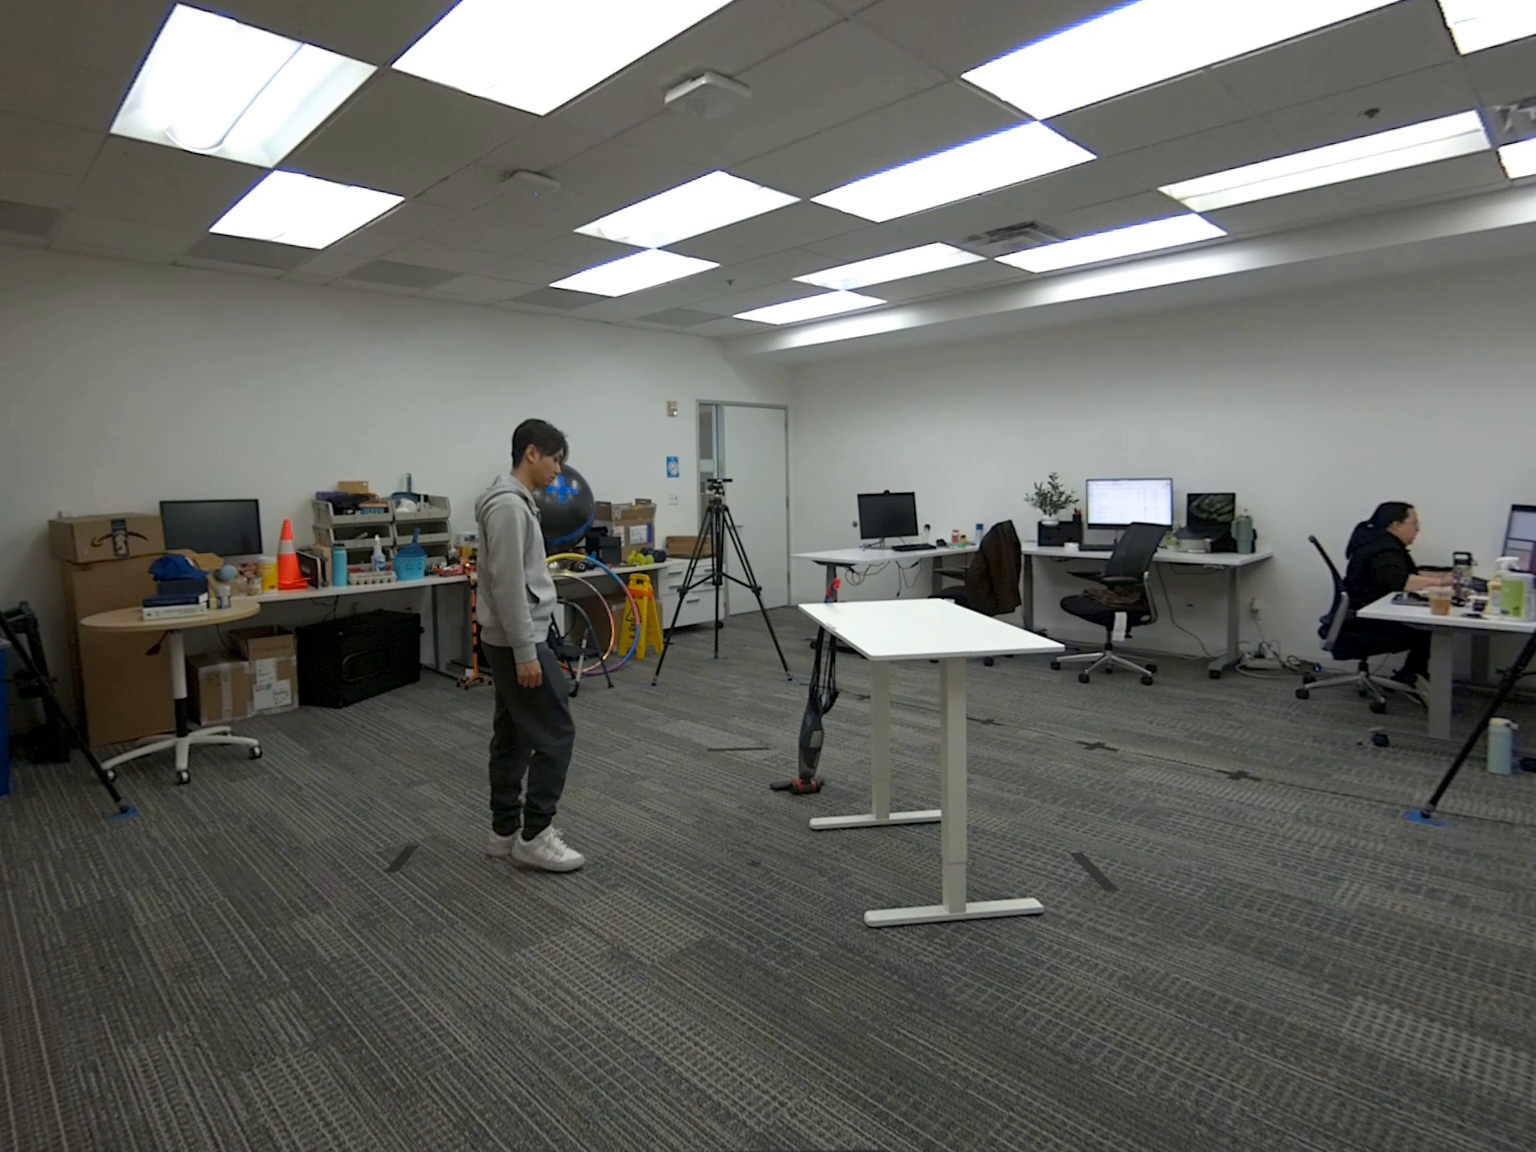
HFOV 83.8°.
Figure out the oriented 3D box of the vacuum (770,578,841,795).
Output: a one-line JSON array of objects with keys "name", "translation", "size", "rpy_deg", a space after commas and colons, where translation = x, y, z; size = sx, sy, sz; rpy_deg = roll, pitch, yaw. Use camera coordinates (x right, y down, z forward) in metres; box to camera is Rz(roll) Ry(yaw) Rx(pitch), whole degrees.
[{"name": "vacuum", "translation": [0.214, 0.496, 3.640], "size": [0.247, 1.031, 0.149], "rpy_deg": [-4, 26, -24]}]
